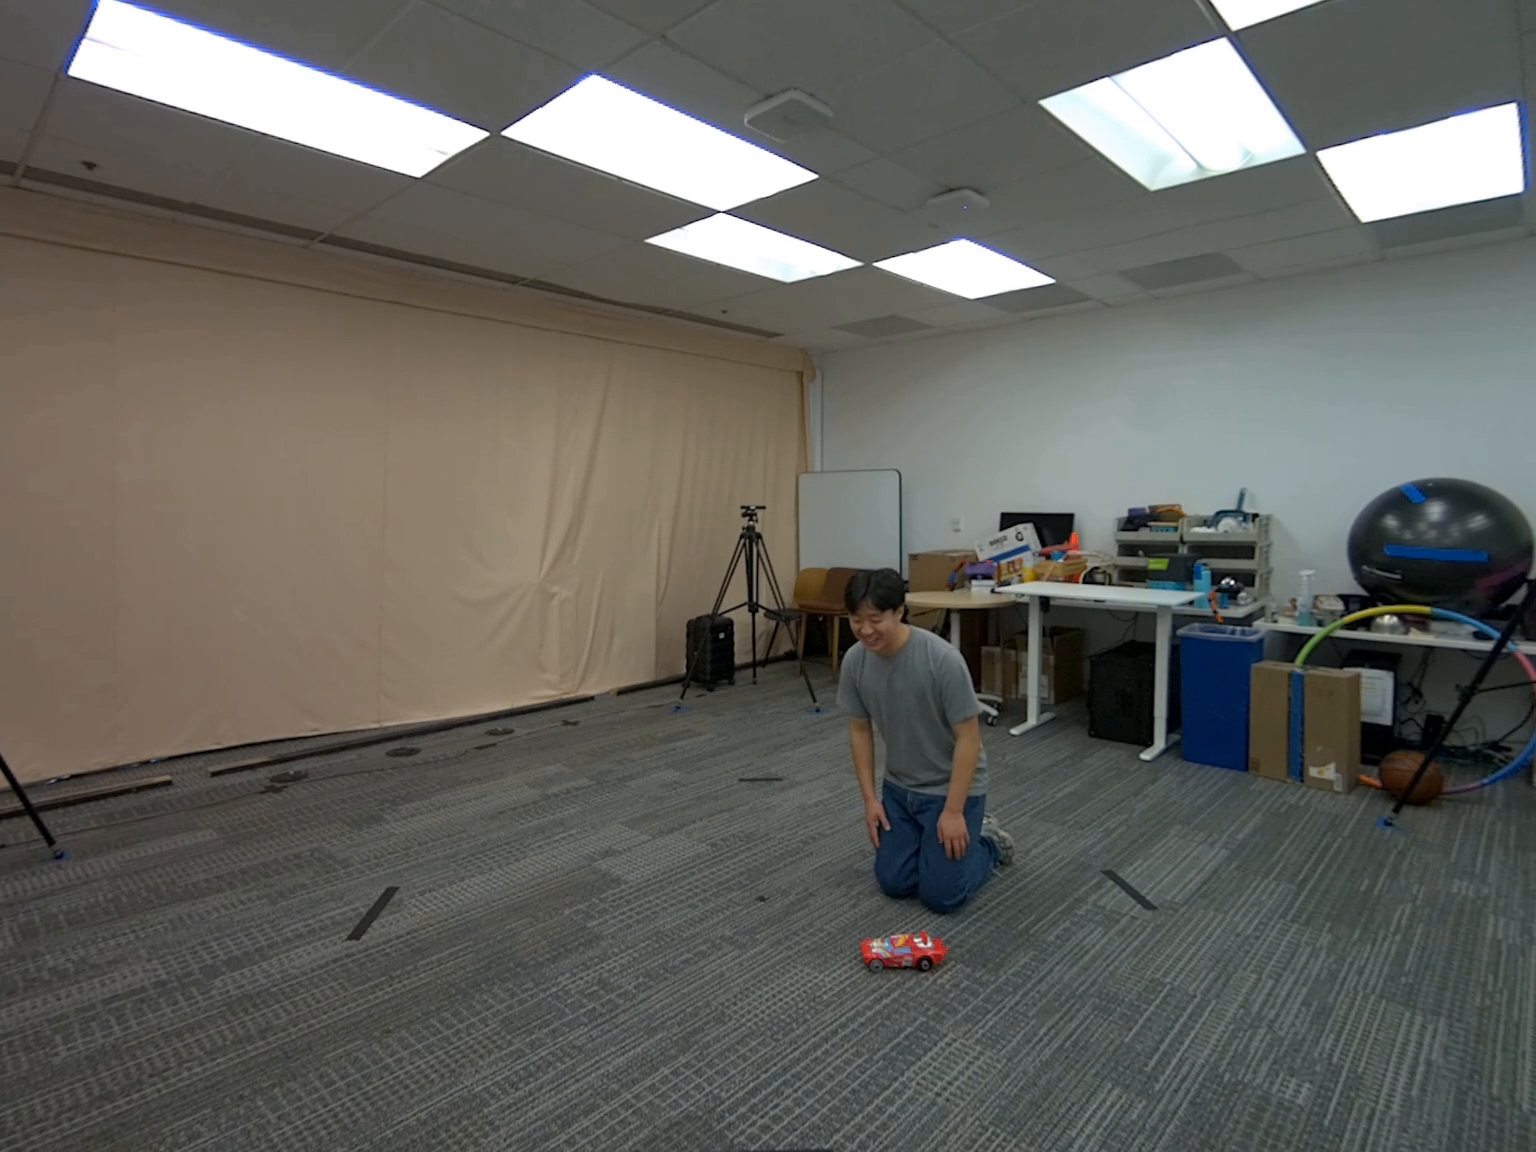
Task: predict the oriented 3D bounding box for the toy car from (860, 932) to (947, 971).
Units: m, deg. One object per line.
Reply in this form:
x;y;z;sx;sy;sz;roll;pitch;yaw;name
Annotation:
0.420;1.145;2.558;0.254;0.083;0.130;-11;3;-1;toy car
